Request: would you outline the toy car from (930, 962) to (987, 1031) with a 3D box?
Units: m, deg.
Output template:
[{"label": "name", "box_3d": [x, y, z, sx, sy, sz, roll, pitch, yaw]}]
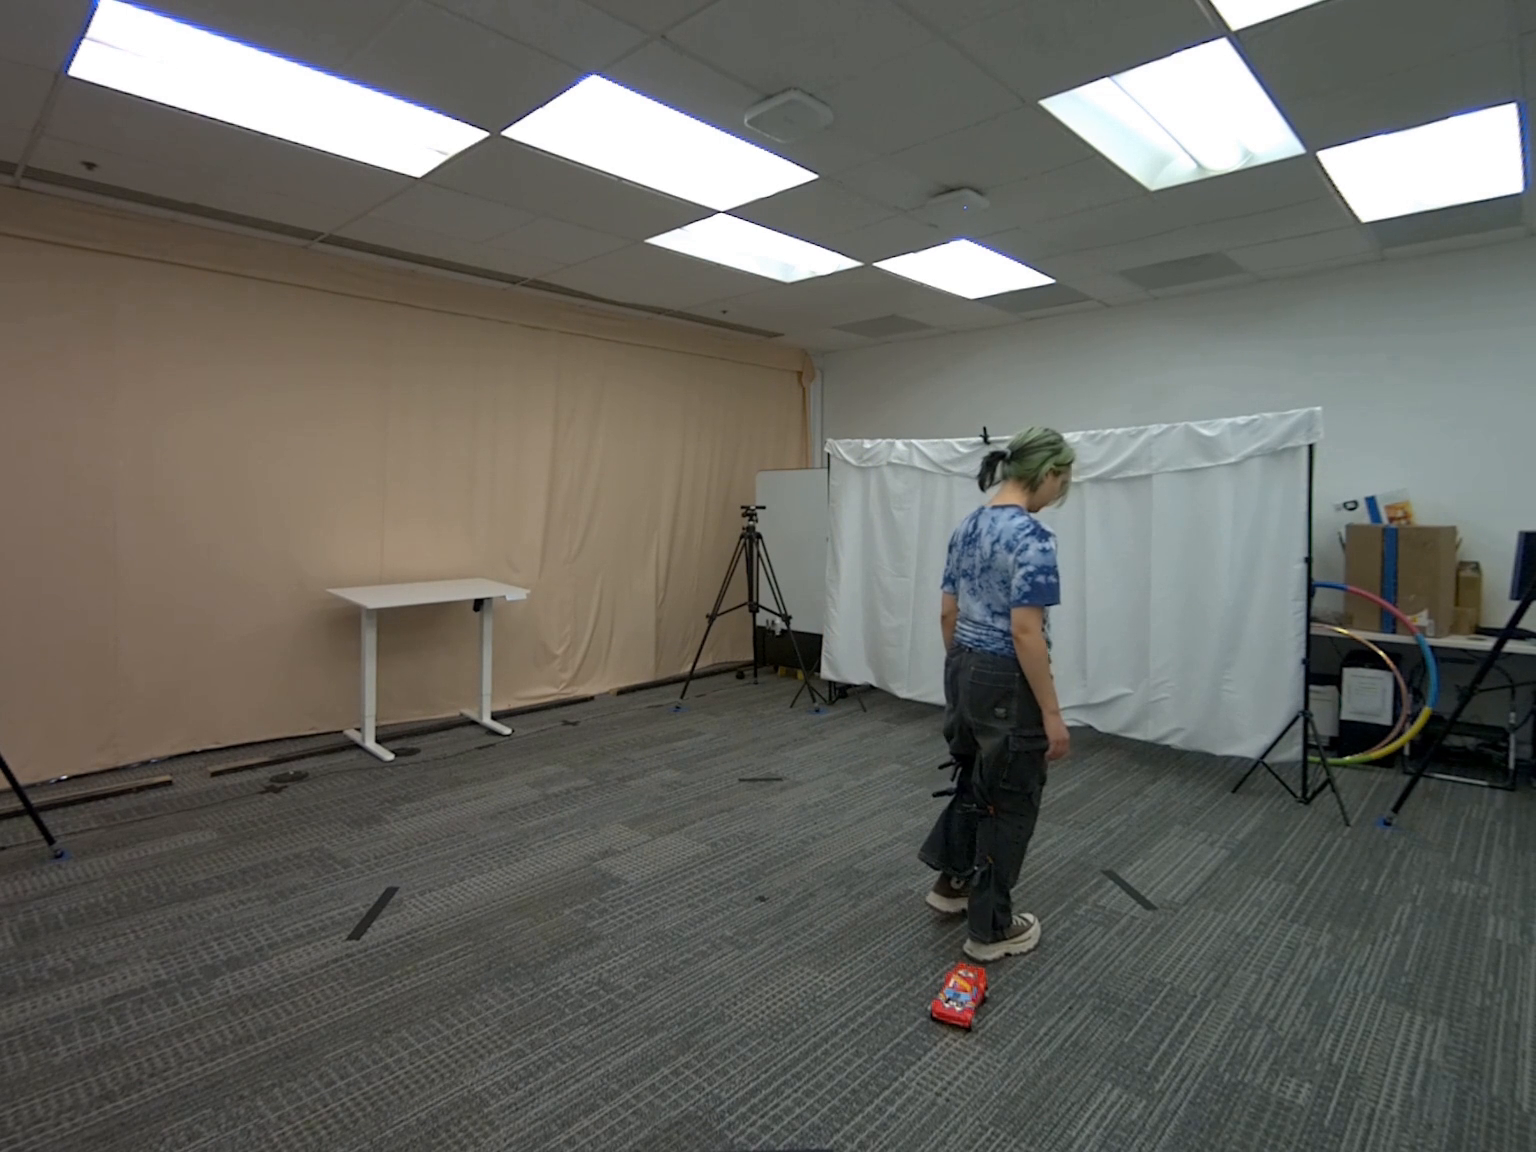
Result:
[{"label": "toy car", "box_3d": [0.546, 1.166, 2.336, 0.134, 0.082, 0.250, 2, 16, 29]}]
